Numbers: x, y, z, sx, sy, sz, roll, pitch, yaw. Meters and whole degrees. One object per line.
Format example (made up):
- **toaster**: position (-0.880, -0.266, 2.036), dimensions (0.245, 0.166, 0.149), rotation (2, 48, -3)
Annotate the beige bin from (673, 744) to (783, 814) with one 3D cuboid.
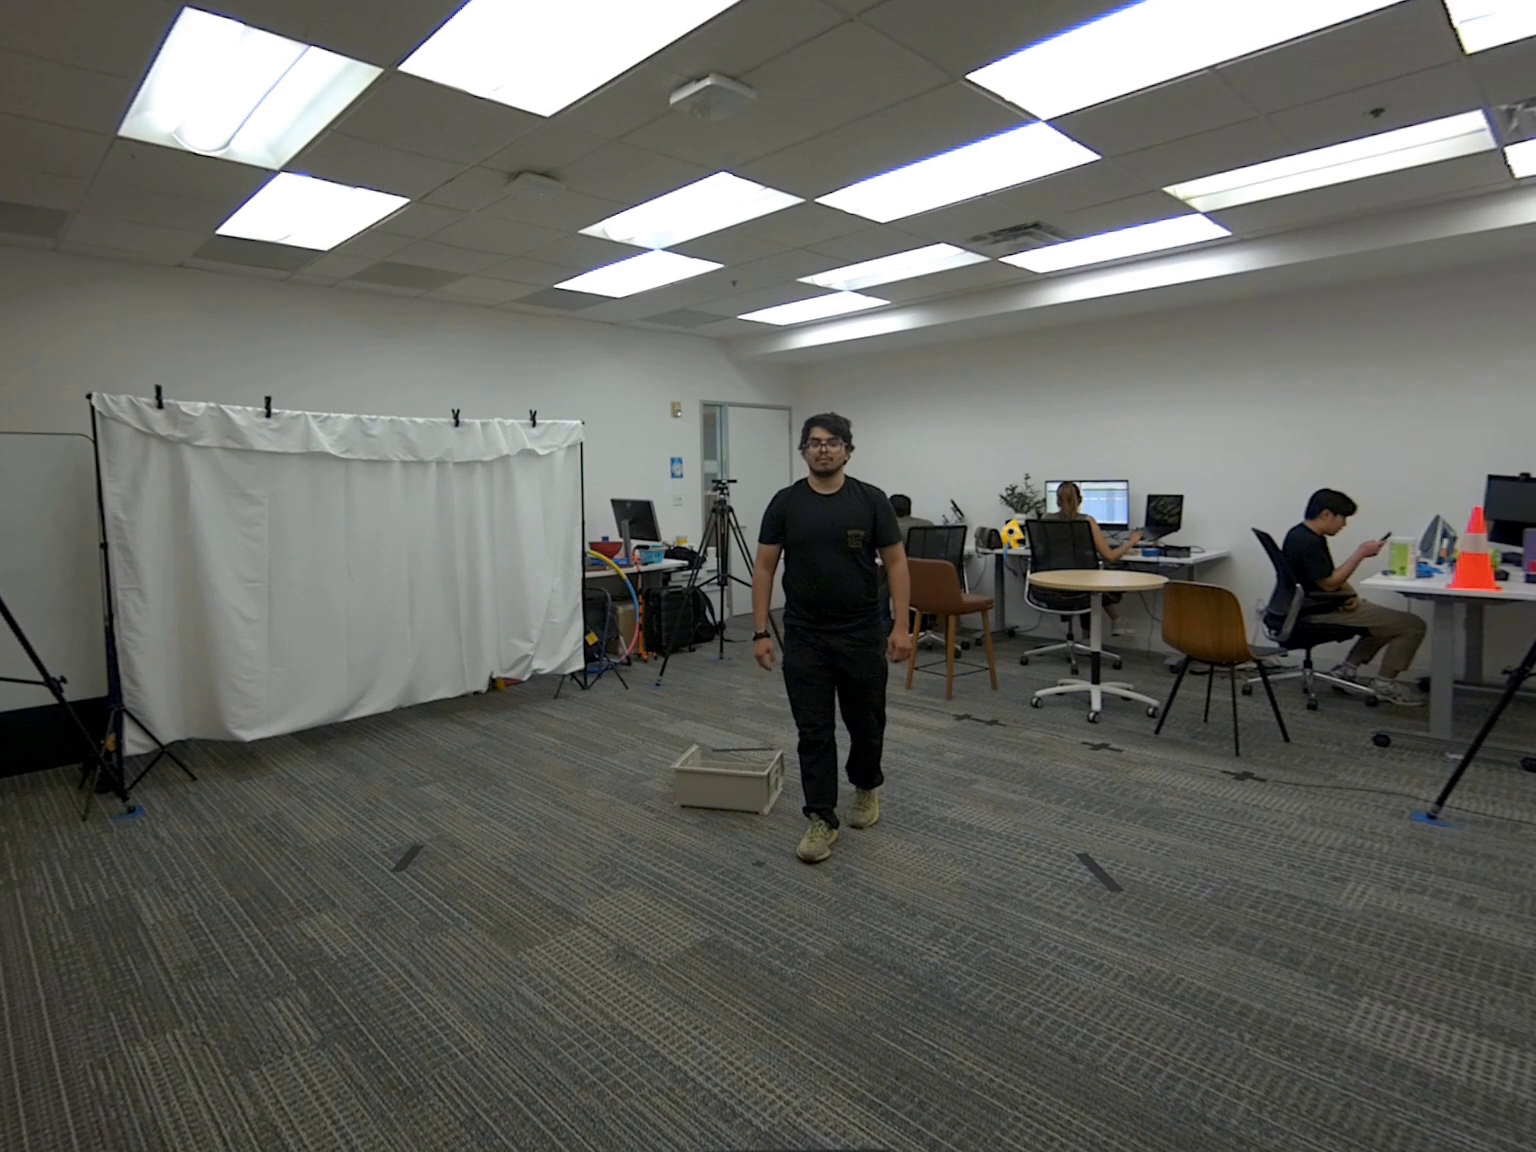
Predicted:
- **beige bin**: position (-0.168, 0.887, 3.782), dimensions (0.429, 0.188, 0.374), rotation (1, 7, 15)
